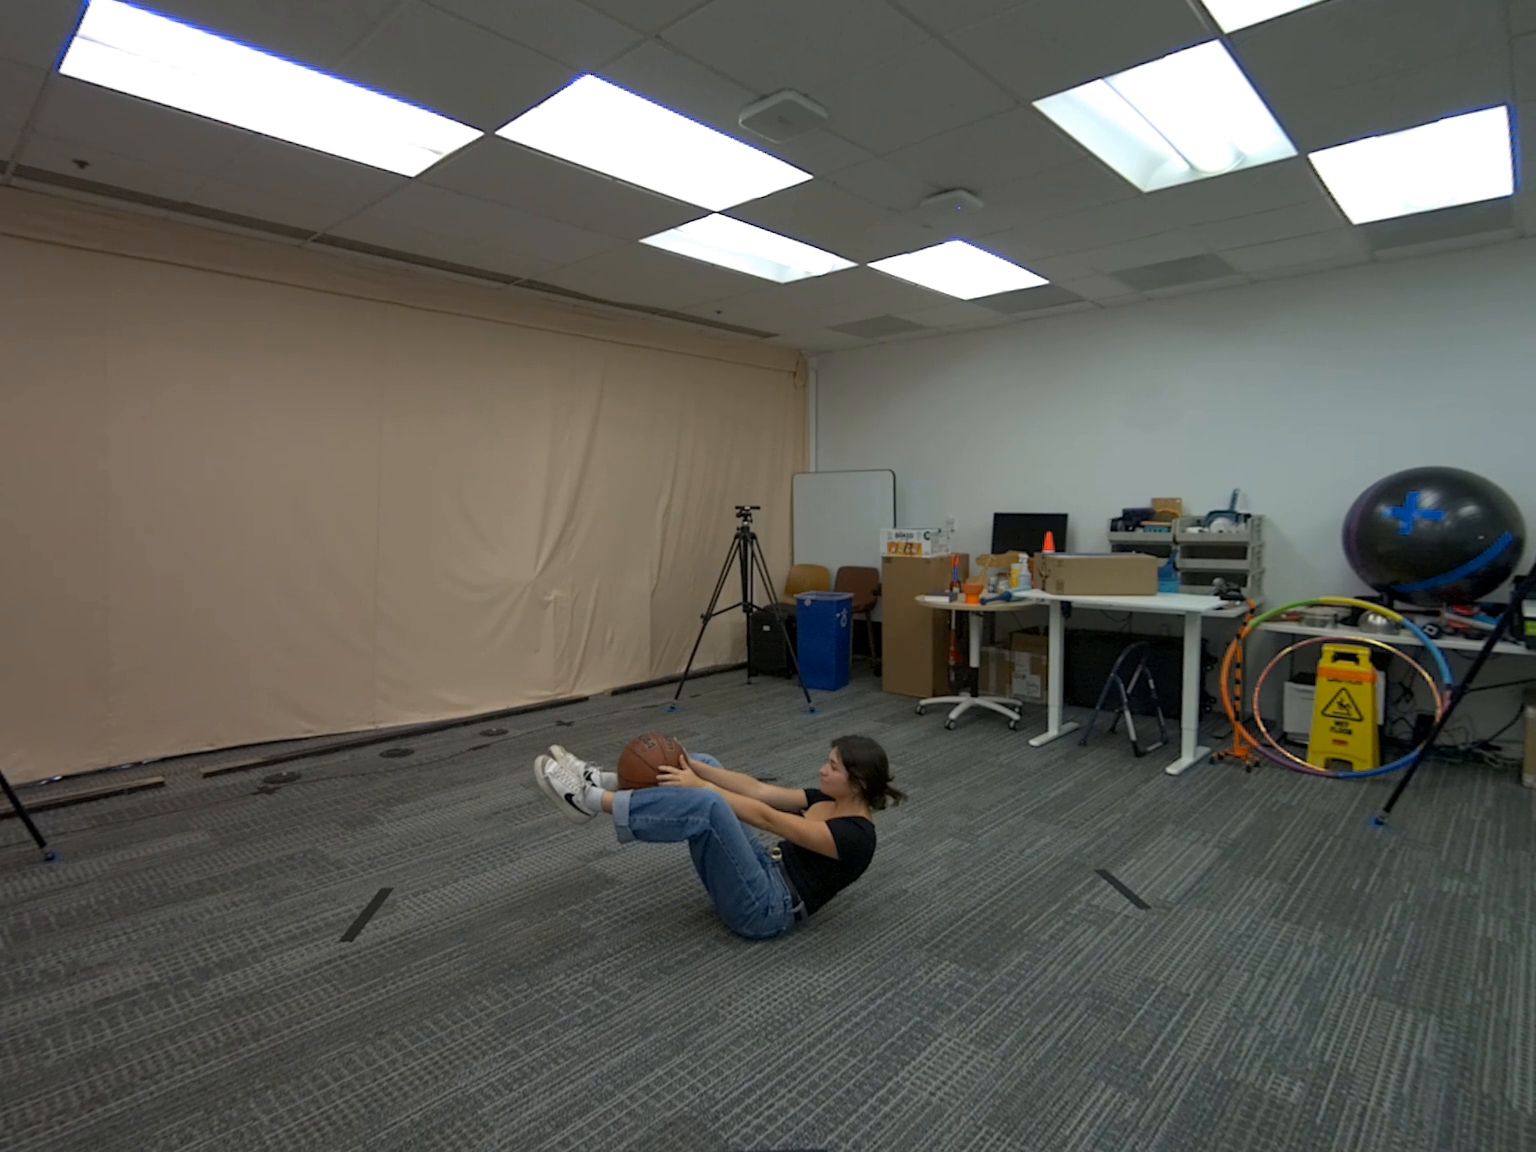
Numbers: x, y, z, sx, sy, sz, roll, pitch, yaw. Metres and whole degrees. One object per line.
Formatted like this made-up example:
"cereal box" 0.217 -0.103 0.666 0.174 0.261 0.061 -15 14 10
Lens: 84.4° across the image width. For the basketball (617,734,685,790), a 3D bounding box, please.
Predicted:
"basketball" -0.375 0.640 2.785 0.236 0.235 0.237 0 4 -2
